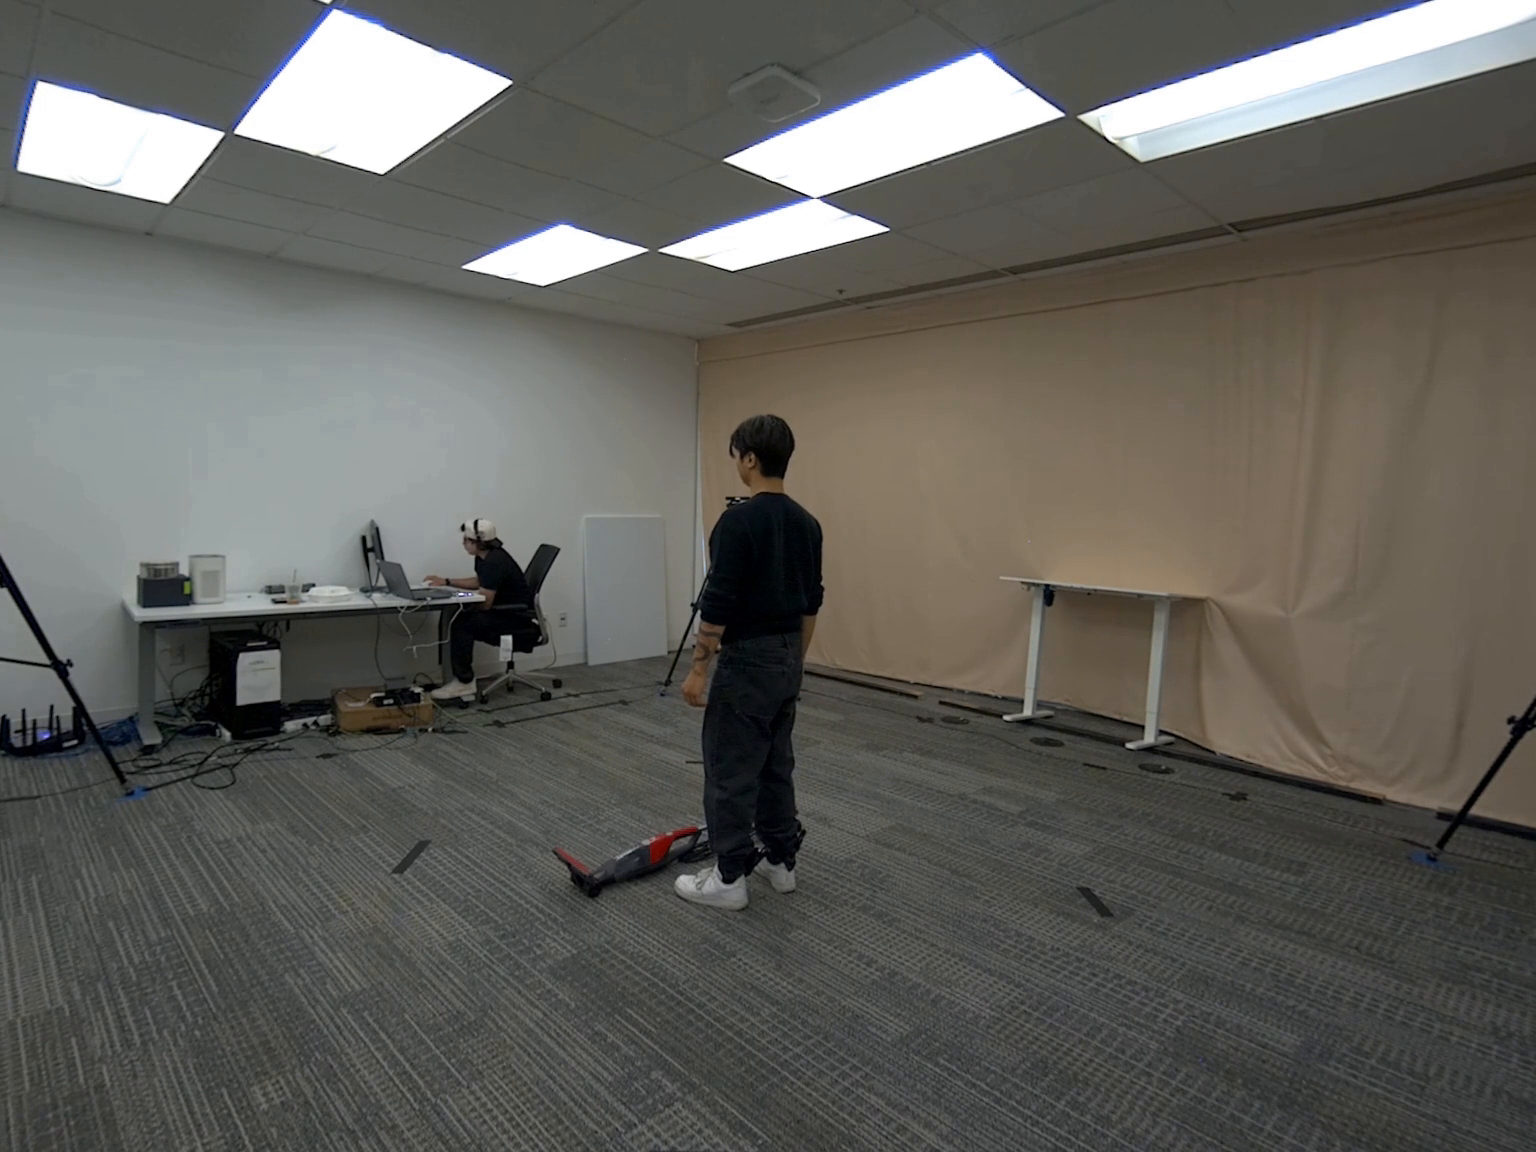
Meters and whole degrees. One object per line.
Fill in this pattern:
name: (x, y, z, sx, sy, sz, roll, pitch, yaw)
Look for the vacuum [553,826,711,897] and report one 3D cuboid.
vacuum: (-0.282, 1.022, 3.270, 1.025, 0.143, 0.259, -2, 9, -40)
